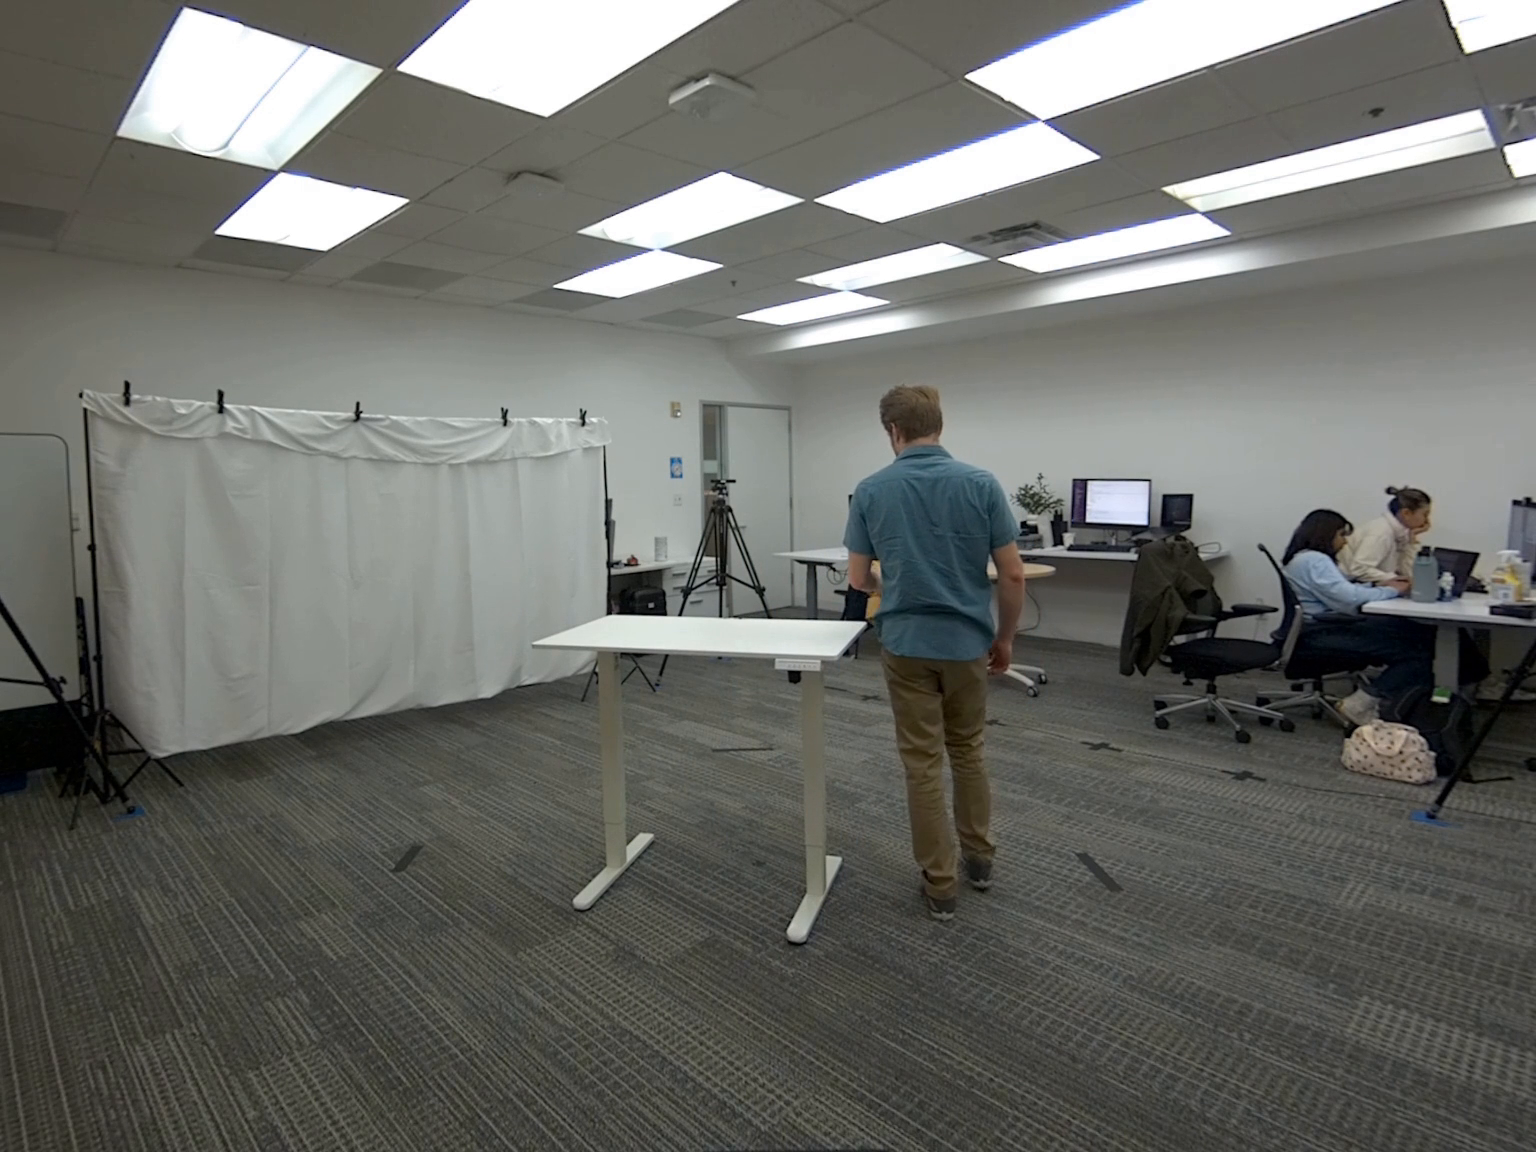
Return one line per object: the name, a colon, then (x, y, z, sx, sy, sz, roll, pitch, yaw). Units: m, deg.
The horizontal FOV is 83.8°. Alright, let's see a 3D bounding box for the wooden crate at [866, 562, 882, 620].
wooden crate: (0.552, 0.108, 3.179, 0.307, 0.278, 0.313, -19, -48, 35)
